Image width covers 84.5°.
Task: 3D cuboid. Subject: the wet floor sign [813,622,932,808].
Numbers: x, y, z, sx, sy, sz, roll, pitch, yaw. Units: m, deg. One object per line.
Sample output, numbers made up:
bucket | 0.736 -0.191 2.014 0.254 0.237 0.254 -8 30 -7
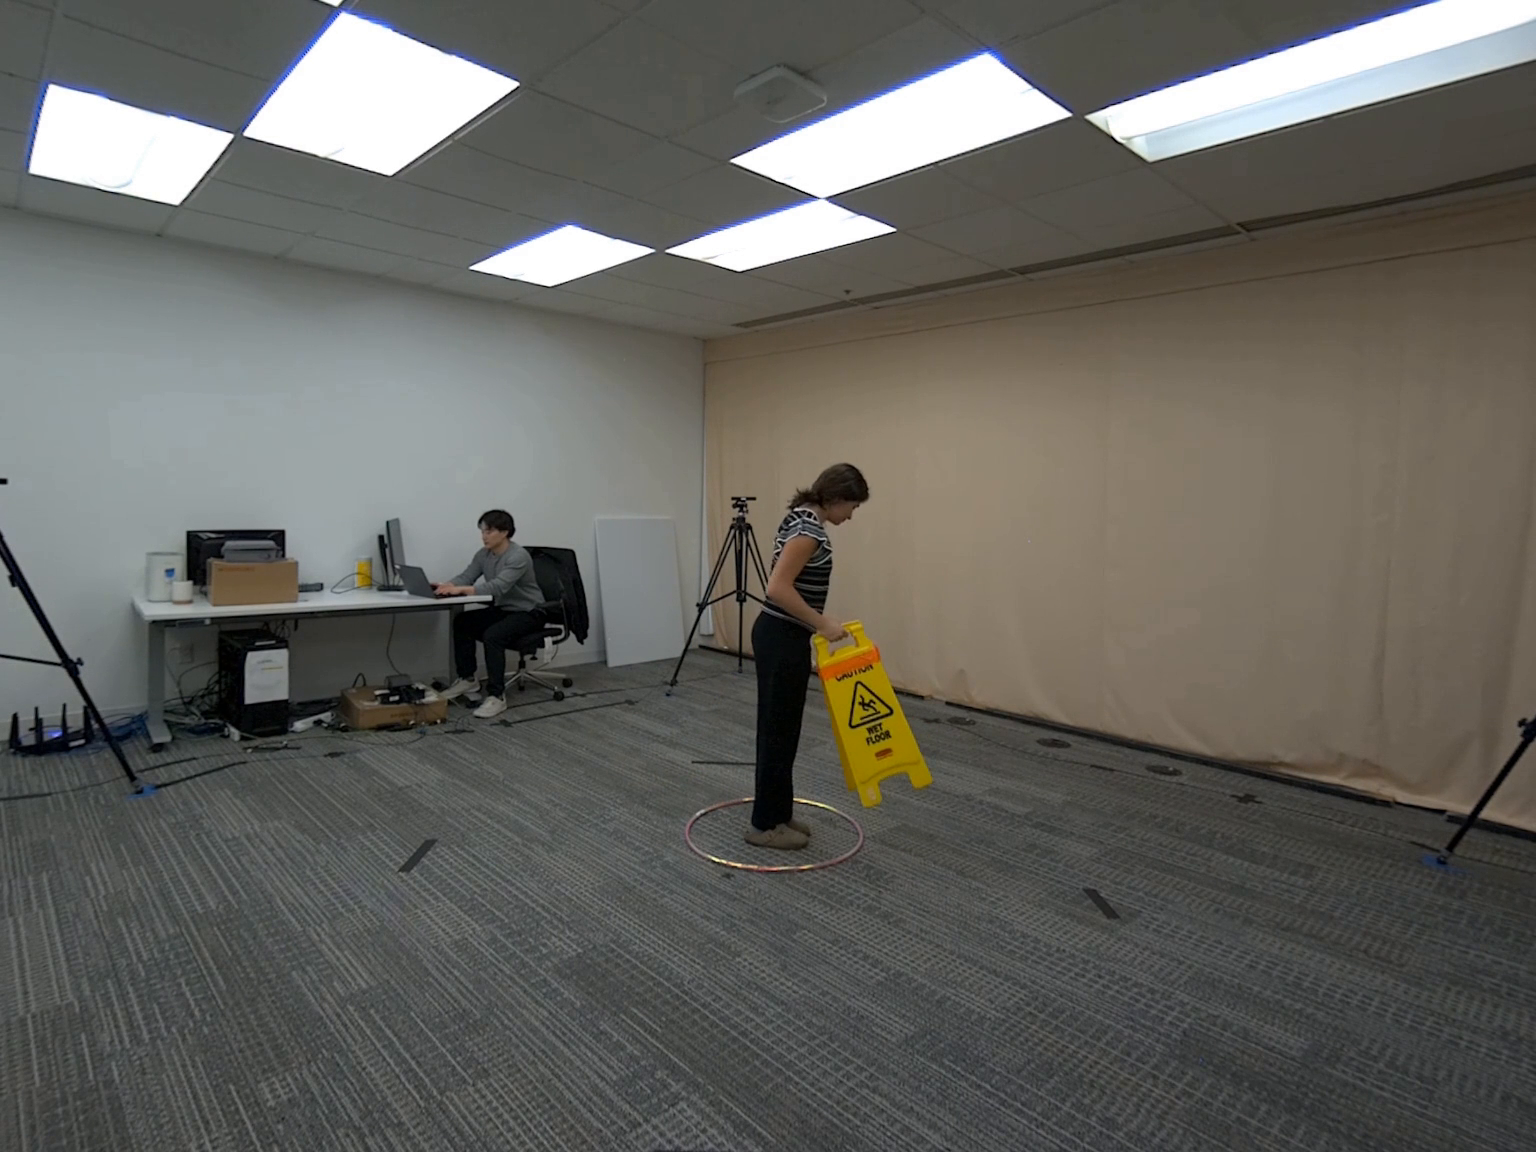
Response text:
wet floor sign | 0.357 0.508 3.252 0.281 0.646 0.291 -17 1 -5
